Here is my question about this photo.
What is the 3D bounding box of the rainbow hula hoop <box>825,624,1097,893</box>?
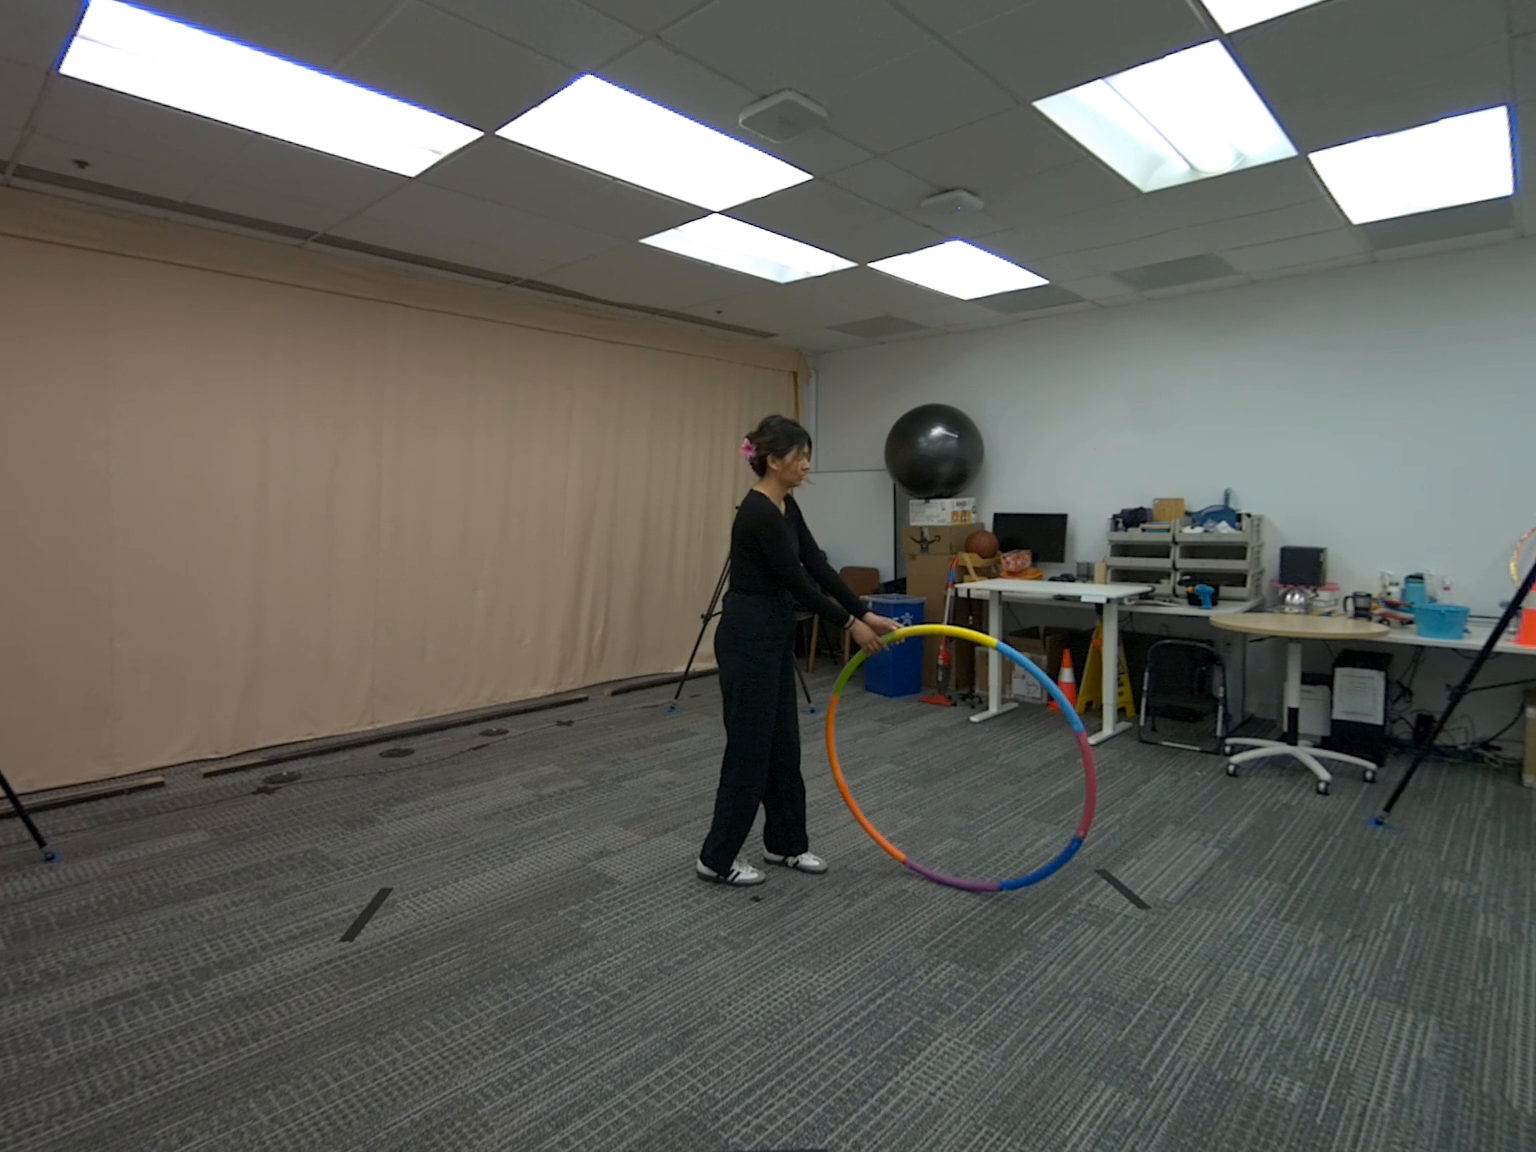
[{"bbox_3d":[0.646,0.660,3.013,1.010,0.972,0.034,3,11,36],"label":"rainbow hula hoop"}]
